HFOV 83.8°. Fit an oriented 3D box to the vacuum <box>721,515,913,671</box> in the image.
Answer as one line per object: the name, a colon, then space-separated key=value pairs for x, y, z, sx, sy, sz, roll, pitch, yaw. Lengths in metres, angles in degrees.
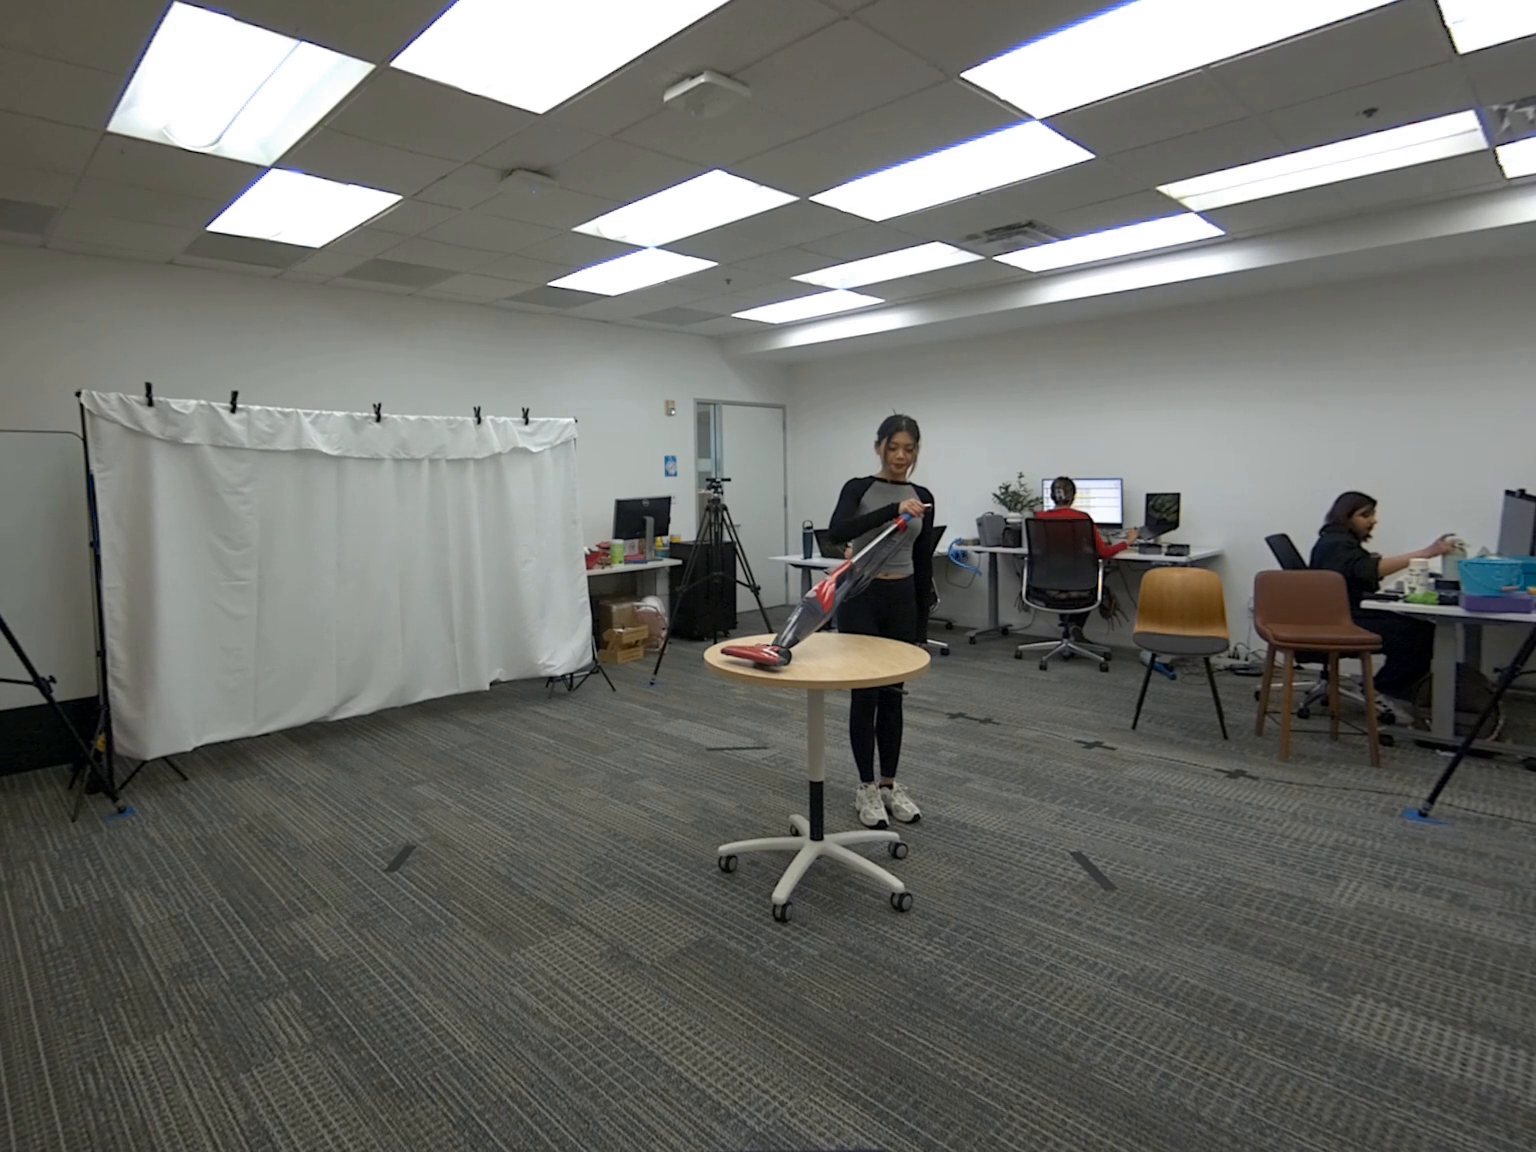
vacuum: x=0.305 y=0.005 z=3.055 sx=0.260 sy=0.140 sz=1.043 roll=5 pitch=35 yaw=43
